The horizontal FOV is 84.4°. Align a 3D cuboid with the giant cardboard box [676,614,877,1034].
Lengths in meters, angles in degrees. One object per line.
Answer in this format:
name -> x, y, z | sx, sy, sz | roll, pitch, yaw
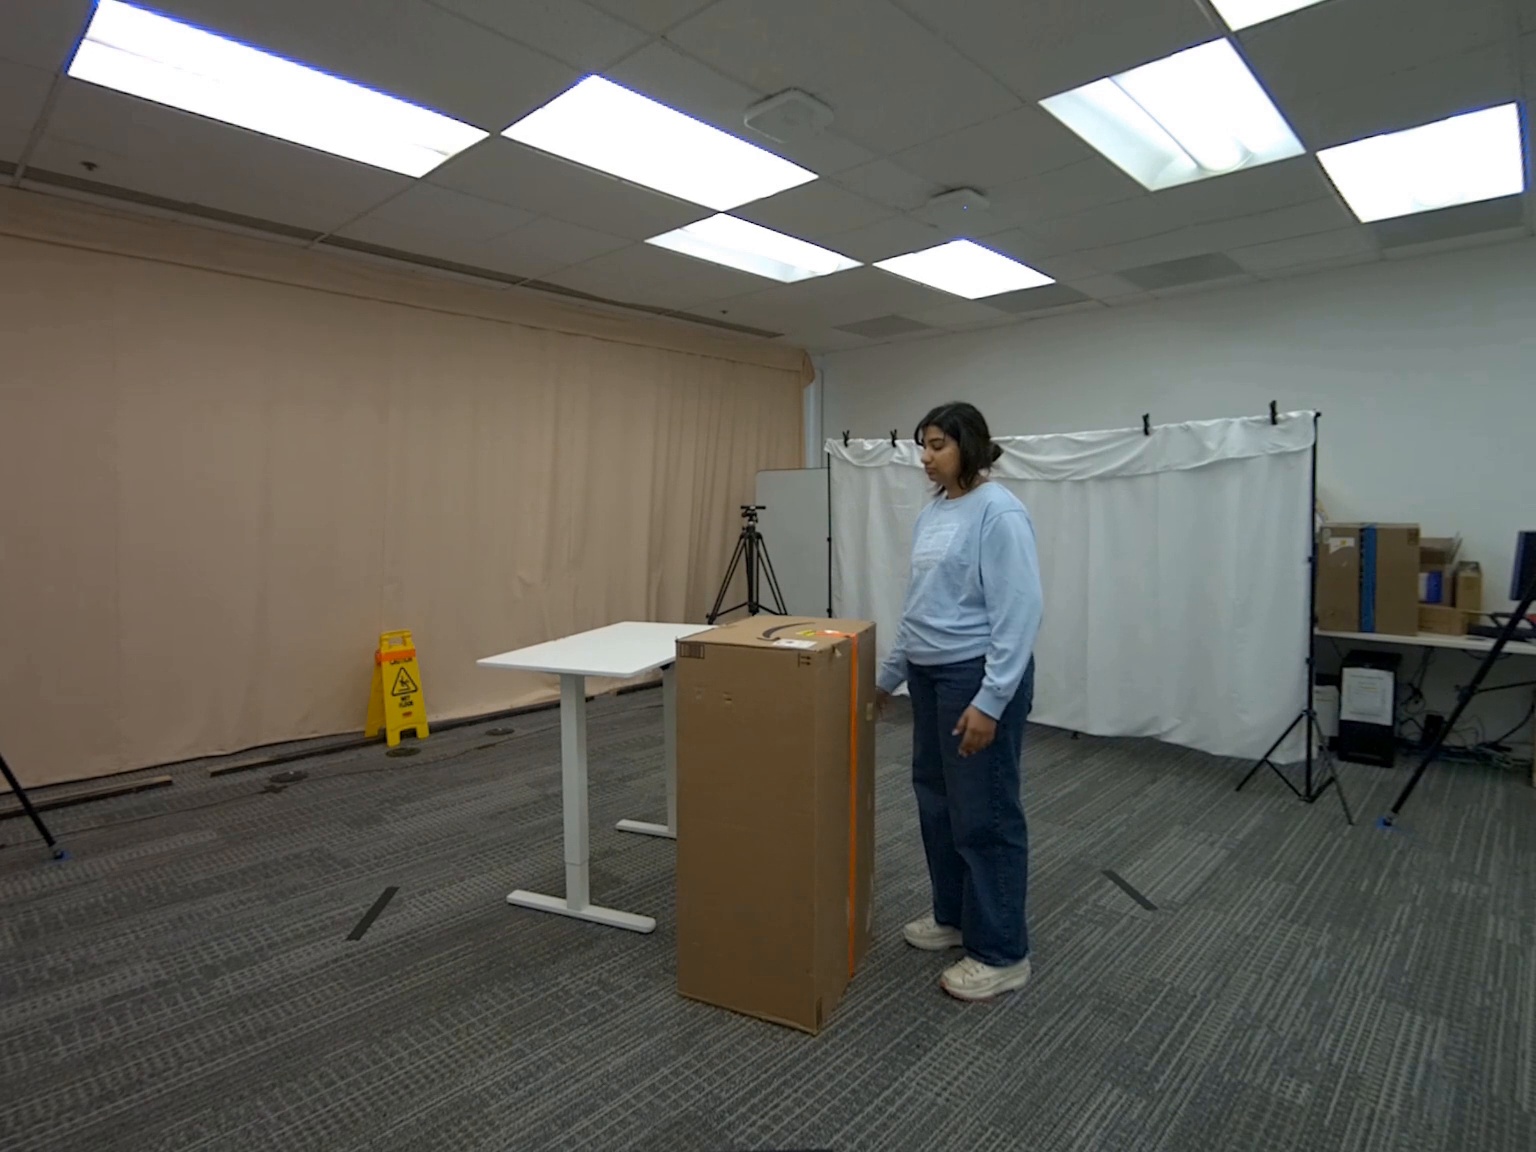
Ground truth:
giant cardboard box -> 0.045, 0.676, 2.531 | 0.437, 1.024, 0.564 | 1, 3, 24
